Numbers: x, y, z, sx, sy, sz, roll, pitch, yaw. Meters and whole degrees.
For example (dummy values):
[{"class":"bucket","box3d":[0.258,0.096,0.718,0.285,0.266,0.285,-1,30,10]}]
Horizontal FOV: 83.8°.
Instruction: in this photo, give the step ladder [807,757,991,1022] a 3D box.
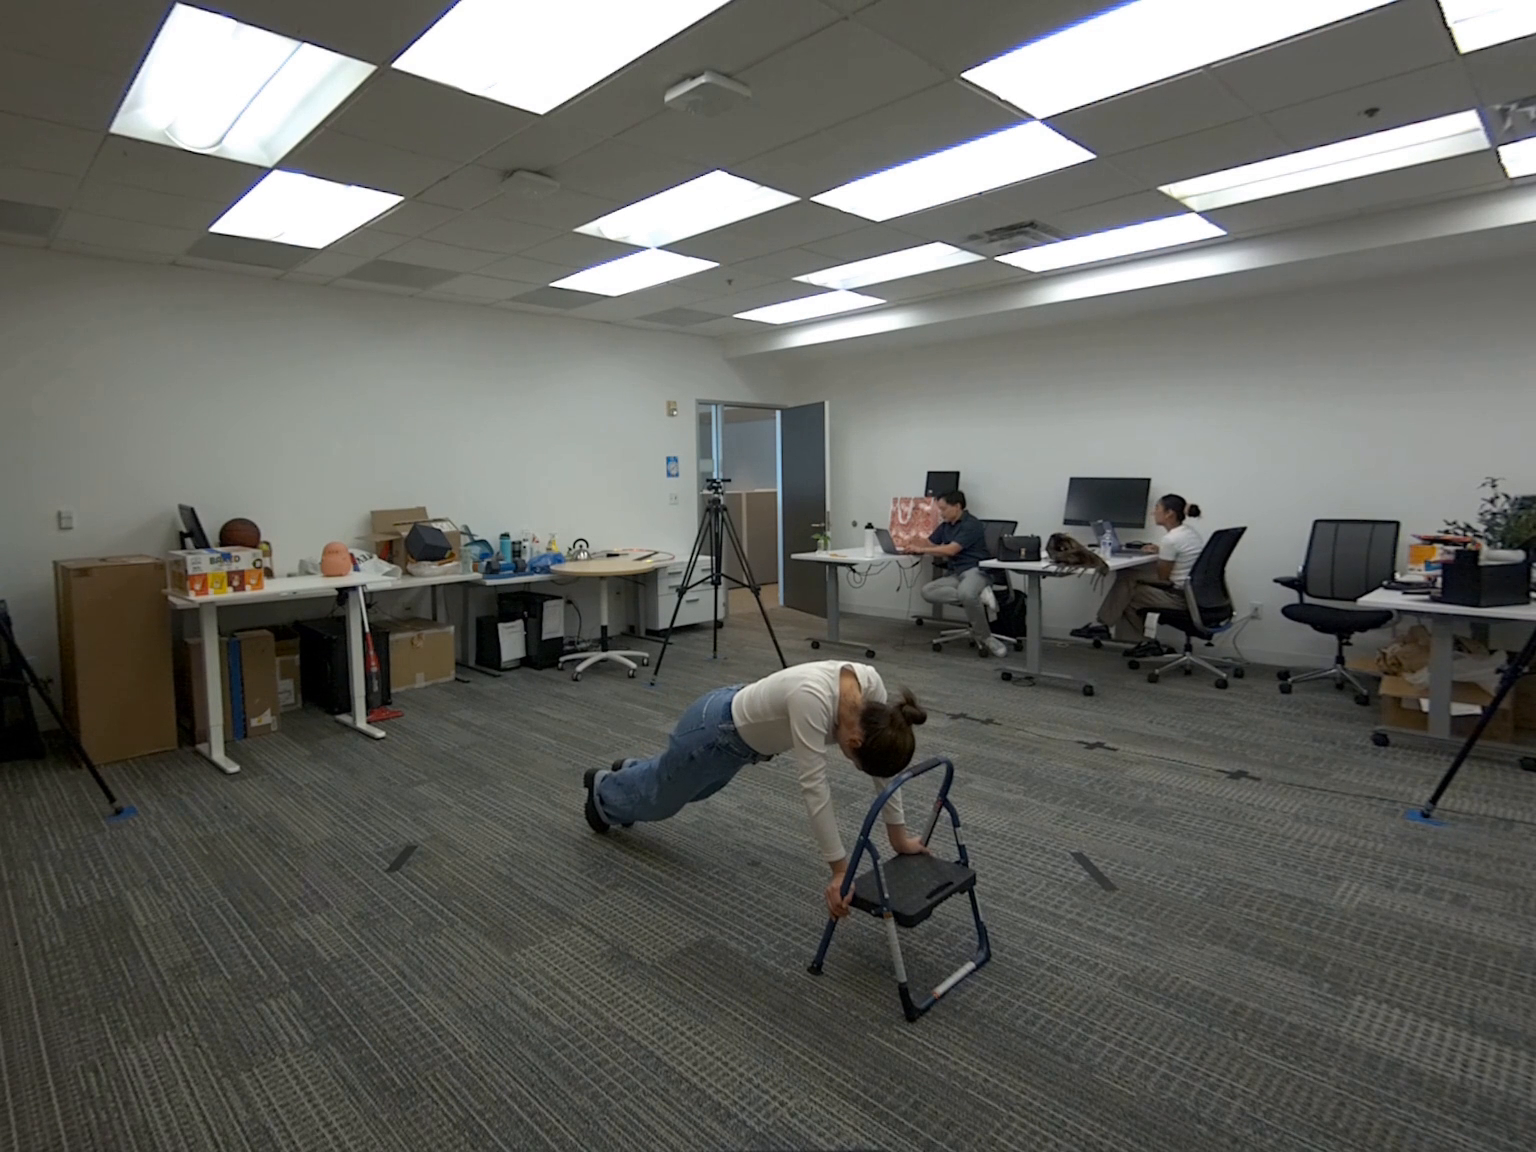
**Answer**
[{"class":"step ladder","box3d":[0.383,0.817,2.424,0.360,0.604,0.419,3,6,43]}]
